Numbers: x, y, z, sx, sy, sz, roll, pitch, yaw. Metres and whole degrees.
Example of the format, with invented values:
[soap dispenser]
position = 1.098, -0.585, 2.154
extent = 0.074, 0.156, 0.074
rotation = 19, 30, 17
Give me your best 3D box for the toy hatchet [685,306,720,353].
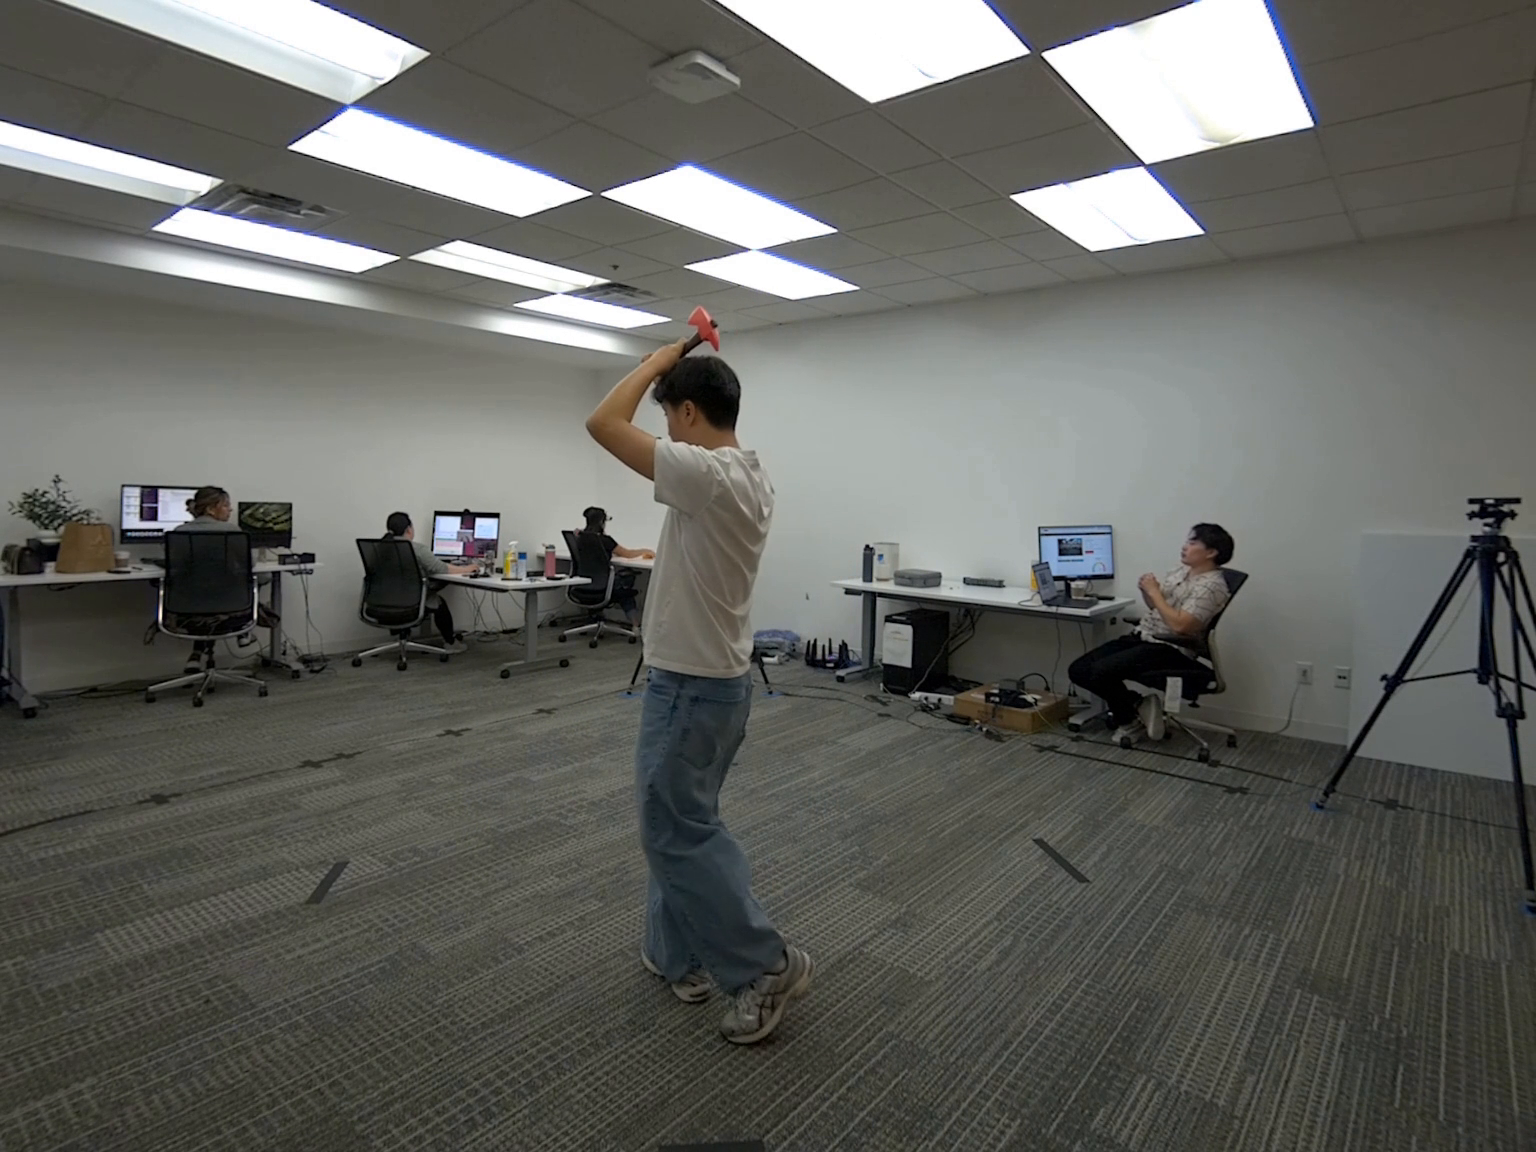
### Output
[toy hatchet]
position = -0.251, -0.633, 2.270
extent = 0.277, 0.131, 0.029
rotation = -8, 2, 38
